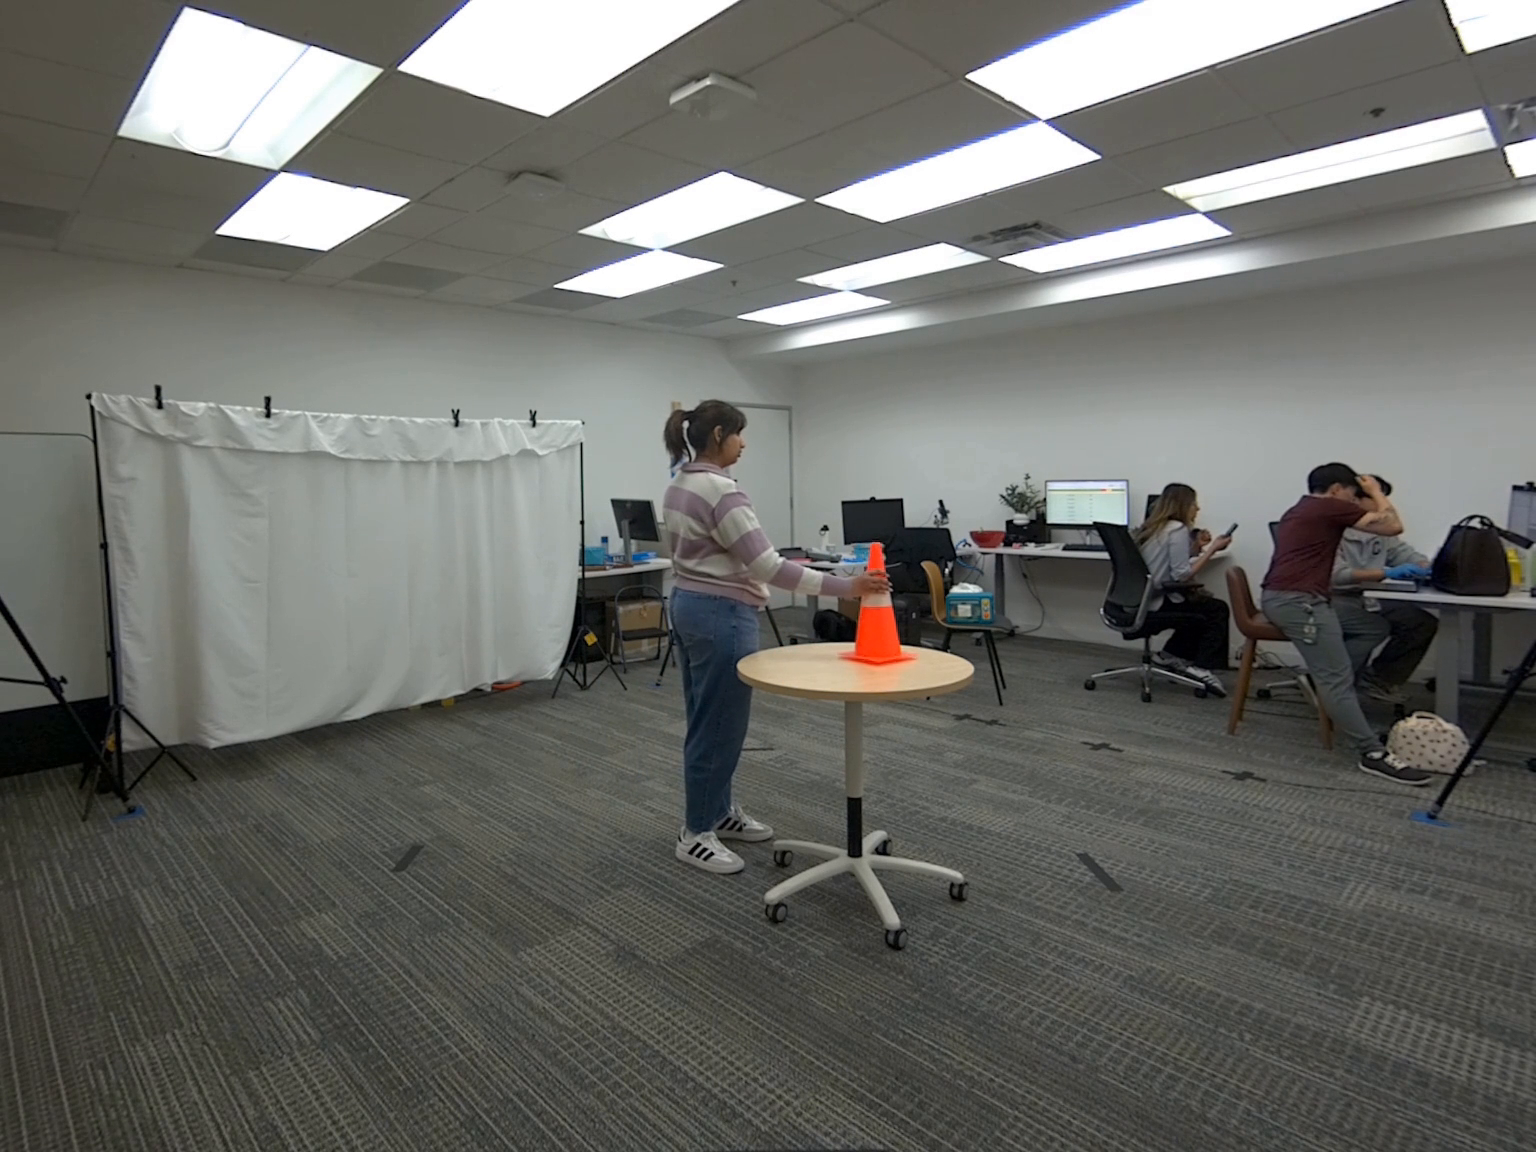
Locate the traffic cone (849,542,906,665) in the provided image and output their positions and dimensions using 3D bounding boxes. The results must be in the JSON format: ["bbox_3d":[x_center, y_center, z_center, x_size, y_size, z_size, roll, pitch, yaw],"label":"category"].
[{"bbox_3d":[0.361,0.081,2.893,0.199,0.383,0.209,-4,3,-42],"label":"traffic cone"}]
